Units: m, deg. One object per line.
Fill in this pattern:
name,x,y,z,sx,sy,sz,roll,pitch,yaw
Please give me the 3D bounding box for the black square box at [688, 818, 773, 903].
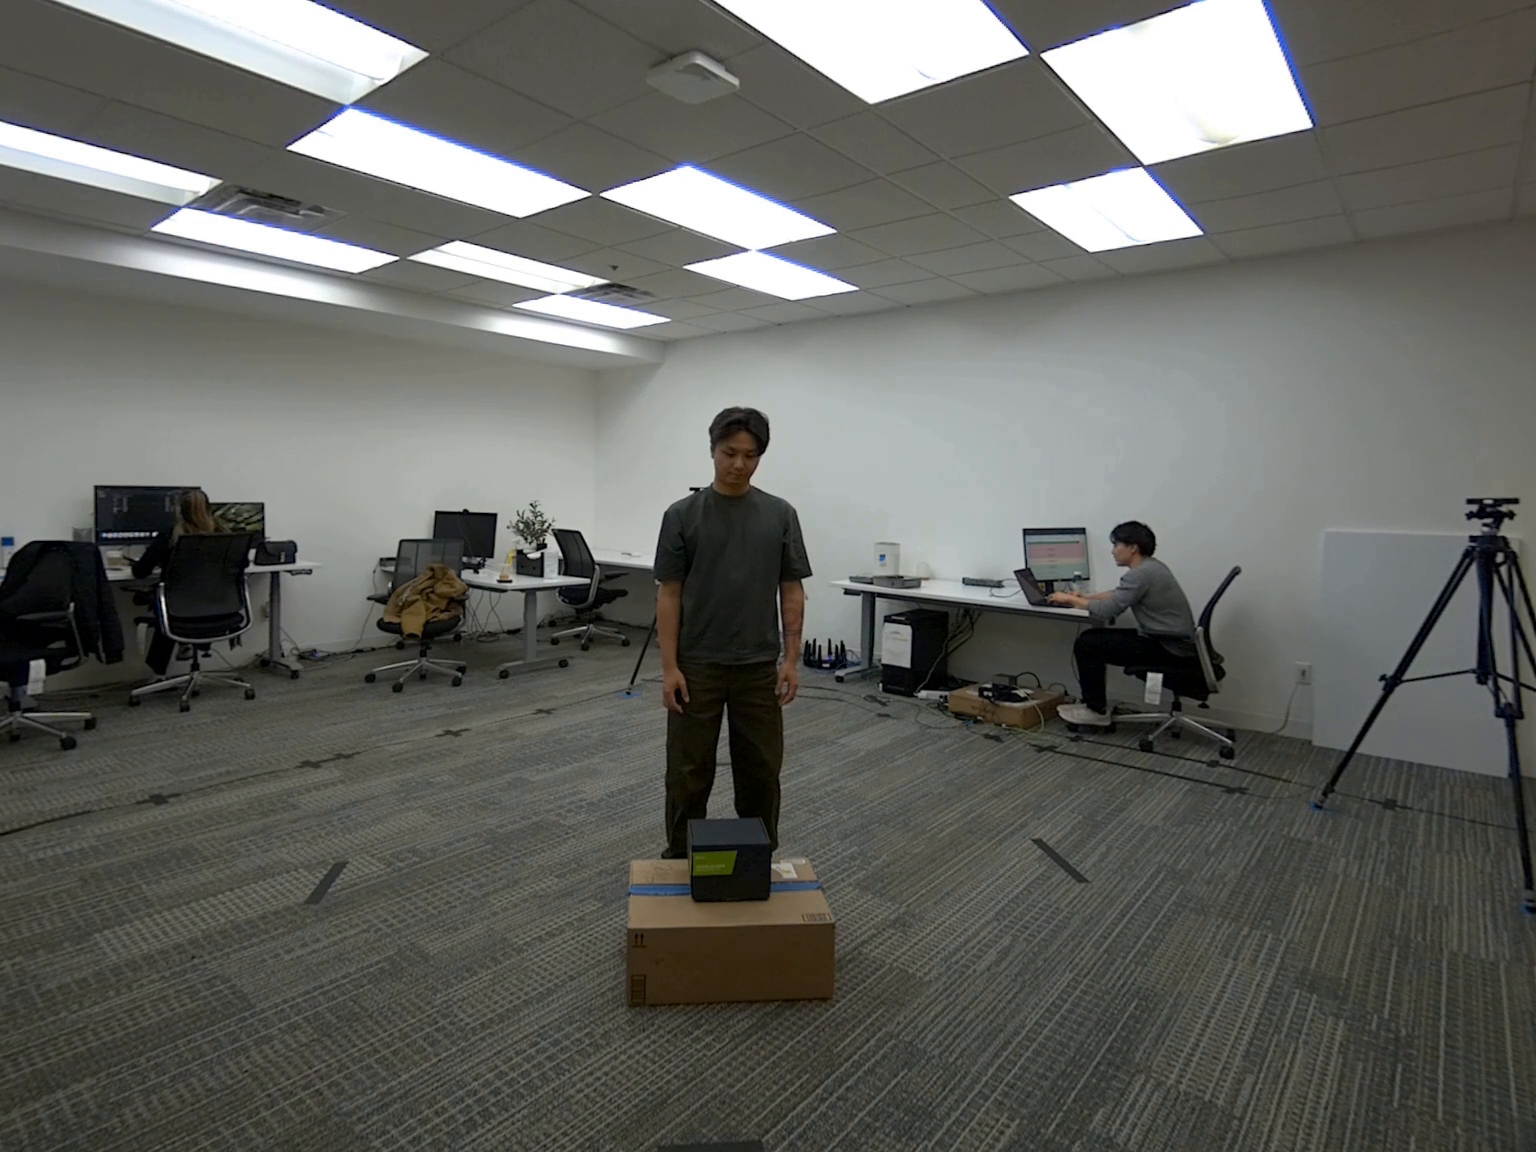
black square box,-0.125,0.828,2.510,0.226,0.155,0.219,1,3,-6
